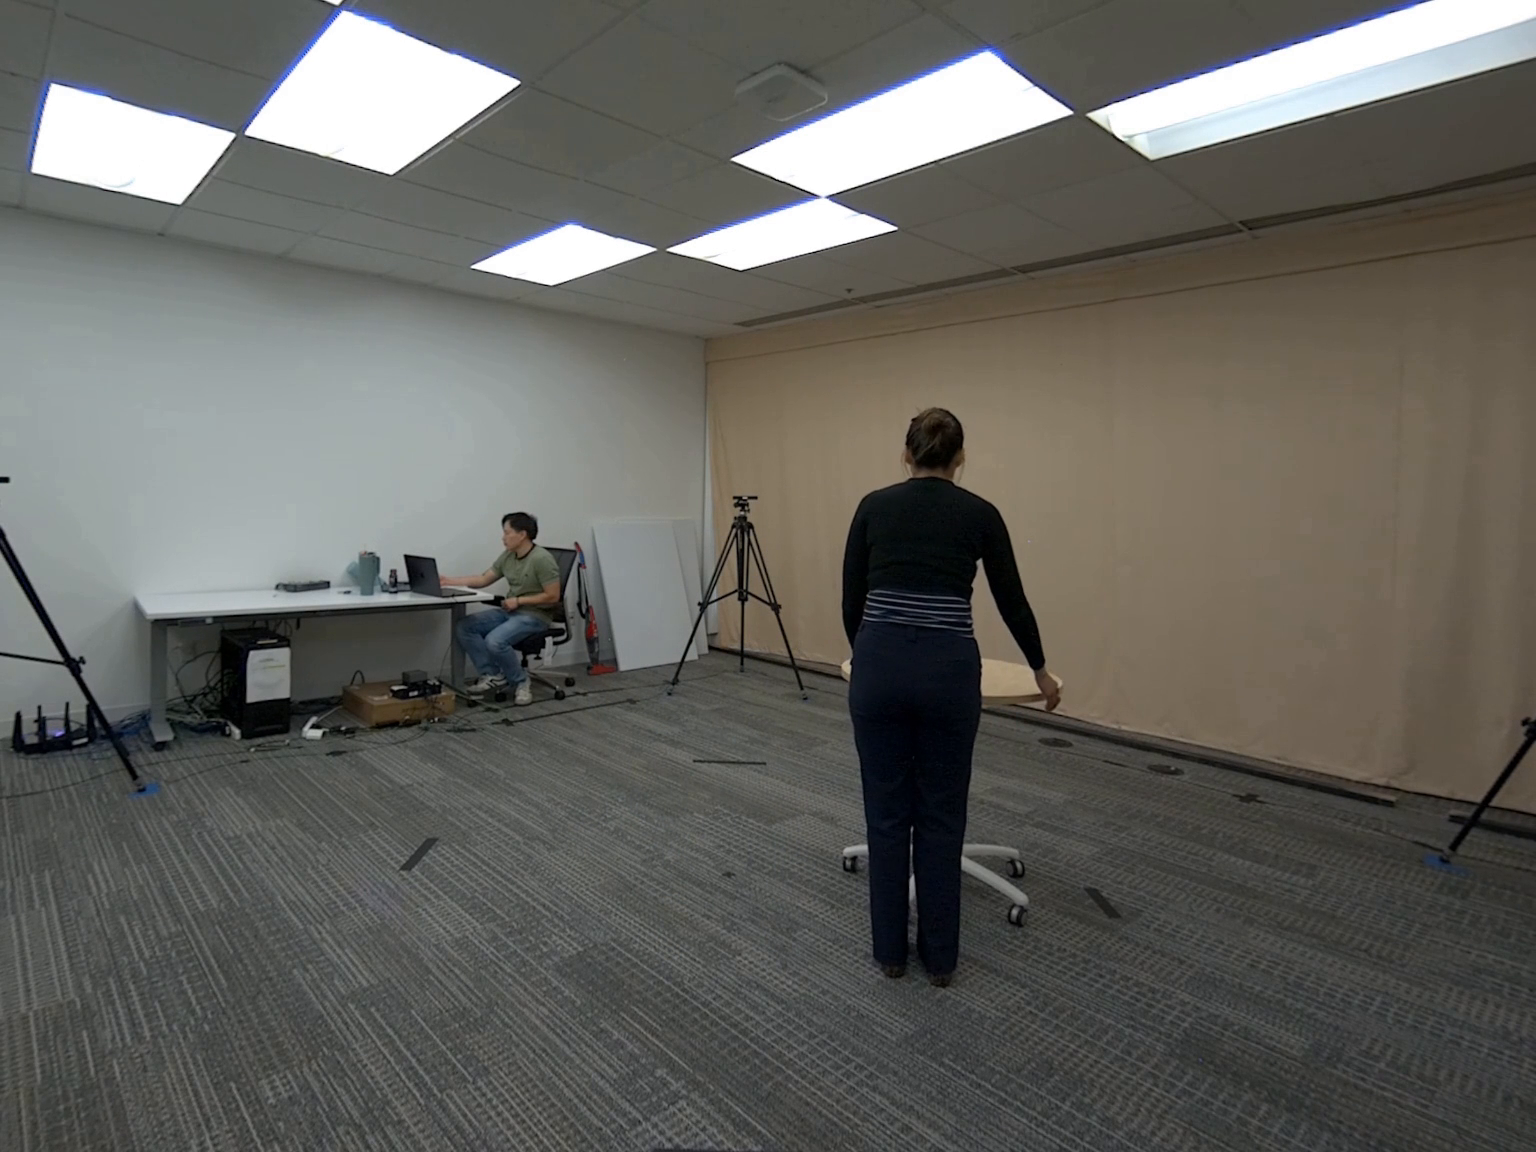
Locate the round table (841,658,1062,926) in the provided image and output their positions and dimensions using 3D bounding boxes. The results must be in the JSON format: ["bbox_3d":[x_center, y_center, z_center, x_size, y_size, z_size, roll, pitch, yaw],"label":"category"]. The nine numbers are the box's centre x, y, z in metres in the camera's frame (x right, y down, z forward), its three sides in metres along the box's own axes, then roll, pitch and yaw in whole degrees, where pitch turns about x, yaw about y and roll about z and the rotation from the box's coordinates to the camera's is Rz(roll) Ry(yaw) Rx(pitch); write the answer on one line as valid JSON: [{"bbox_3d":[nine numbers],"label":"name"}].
[{"bbox_3d":[0.627,0.740,3.039,0.763,0.792,0.766,2,4,-2],"label":"round table"}]
